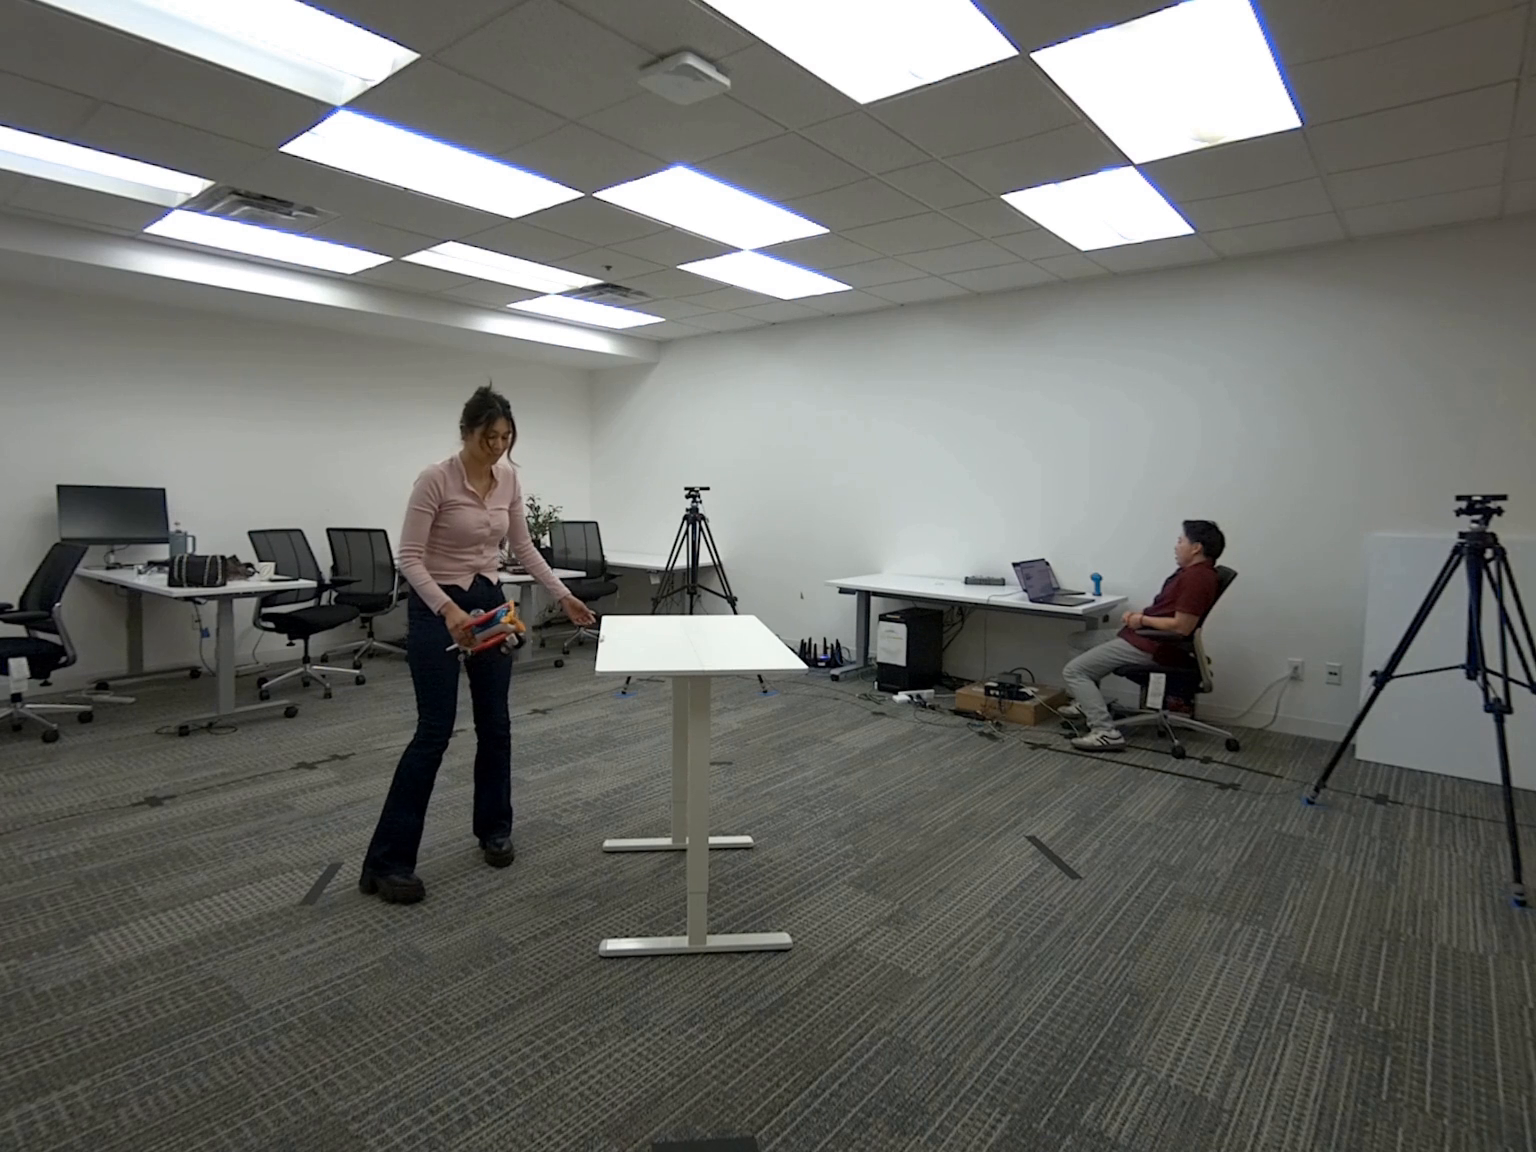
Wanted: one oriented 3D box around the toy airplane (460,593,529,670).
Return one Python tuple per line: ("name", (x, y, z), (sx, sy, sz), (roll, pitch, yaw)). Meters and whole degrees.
("toy airplane", (-0.943, 0.183, 2.781), (0.257, 0.155, 0.256), (-12, 11, -10))
